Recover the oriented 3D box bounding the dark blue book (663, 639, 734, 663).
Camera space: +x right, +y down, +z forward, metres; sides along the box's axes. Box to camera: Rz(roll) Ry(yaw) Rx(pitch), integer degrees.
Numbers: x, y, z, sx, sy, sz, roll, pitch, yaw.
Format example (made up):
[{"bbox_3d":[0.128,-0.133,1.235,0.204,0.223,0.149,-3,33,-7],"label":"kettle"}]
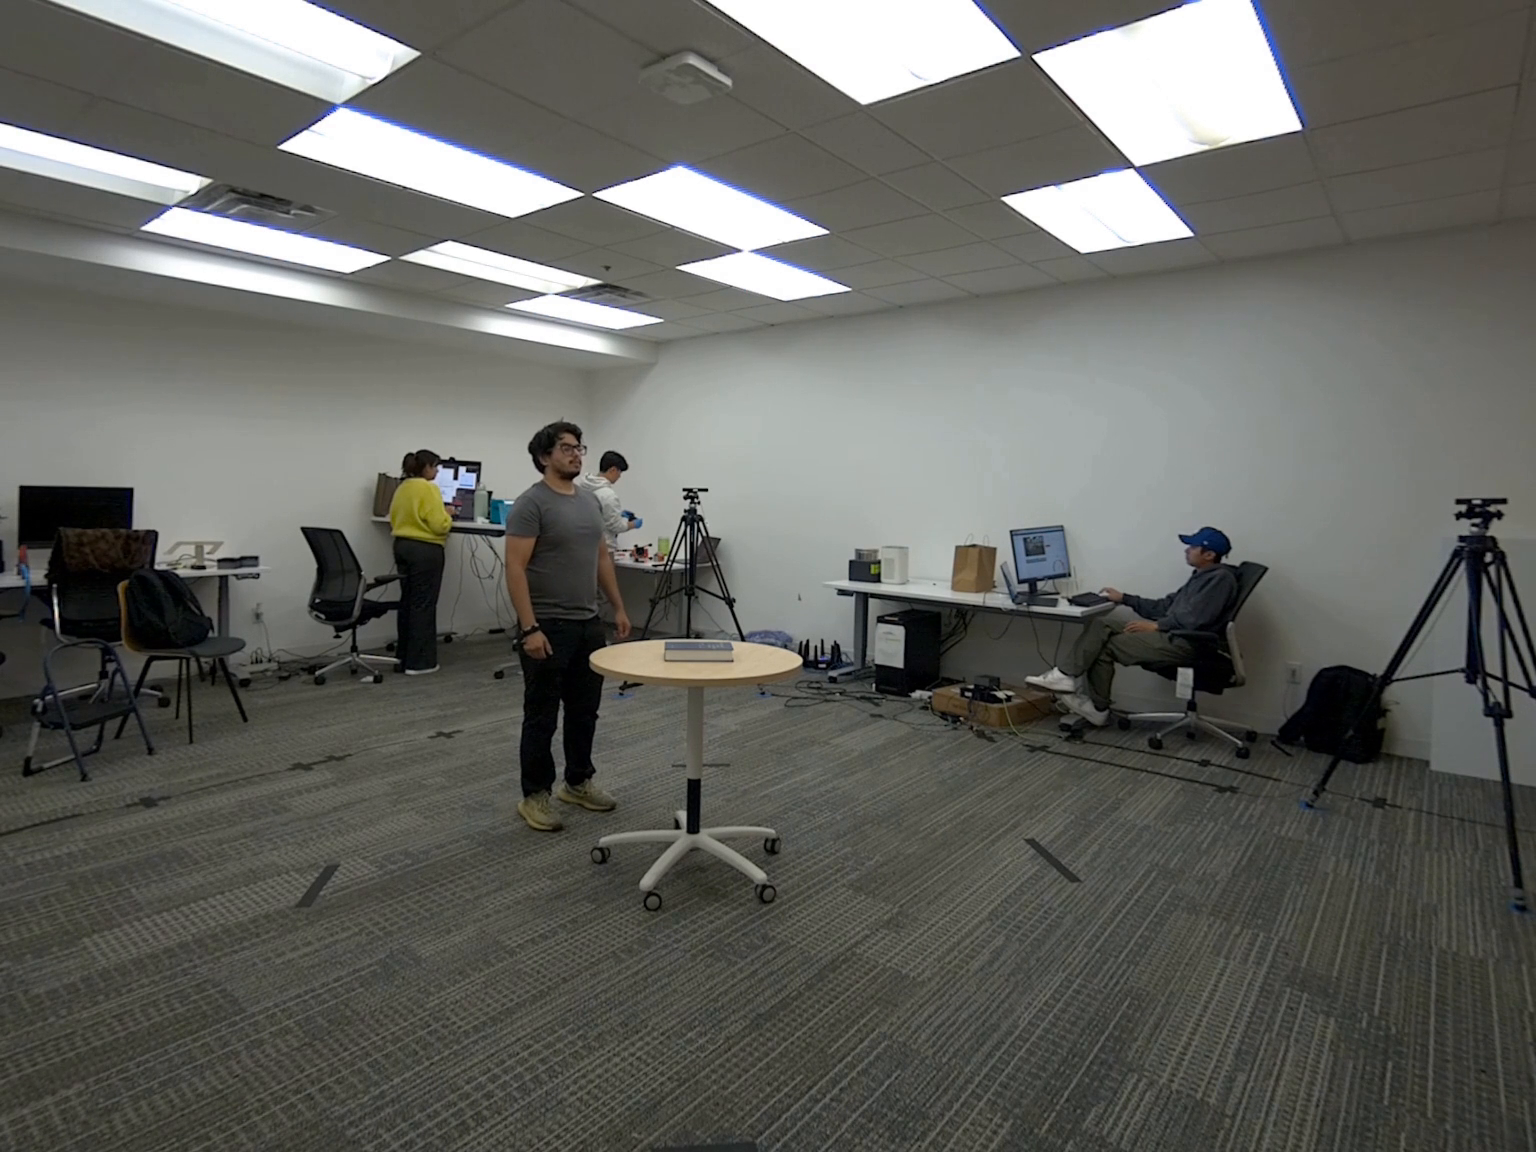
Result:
[{"bbox_3d":[-0.259,0.270,3.066,0.244,0.045,0.165,0,6,-5],"label":"dark blue book"}]
